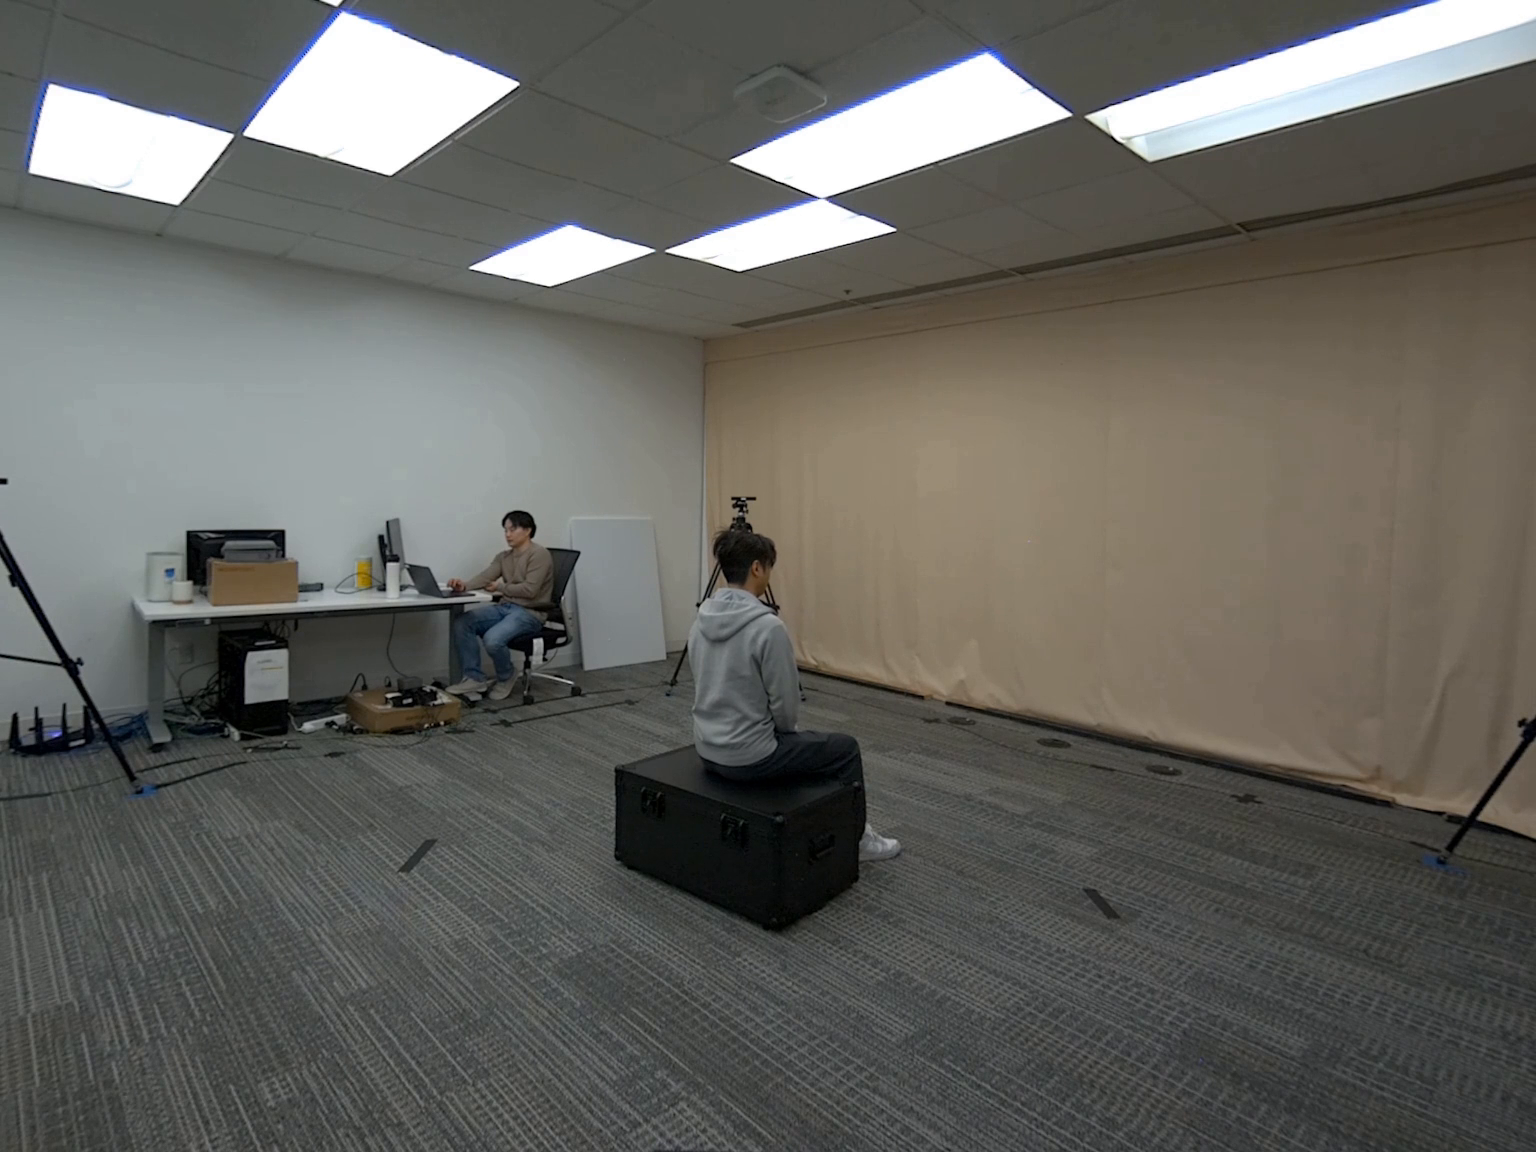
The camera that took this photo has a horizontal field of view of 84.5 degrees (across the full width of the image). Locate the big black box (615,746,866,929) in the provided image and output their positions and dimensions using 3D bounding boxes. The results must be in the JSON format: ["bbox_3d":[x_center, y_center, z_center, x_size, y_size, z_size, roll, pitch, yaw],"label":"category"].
[{"bbox_3d":[-0.111,0.927,3.069,0.883,0.395,0.510,5,6,40],"label":"big black box"}]
